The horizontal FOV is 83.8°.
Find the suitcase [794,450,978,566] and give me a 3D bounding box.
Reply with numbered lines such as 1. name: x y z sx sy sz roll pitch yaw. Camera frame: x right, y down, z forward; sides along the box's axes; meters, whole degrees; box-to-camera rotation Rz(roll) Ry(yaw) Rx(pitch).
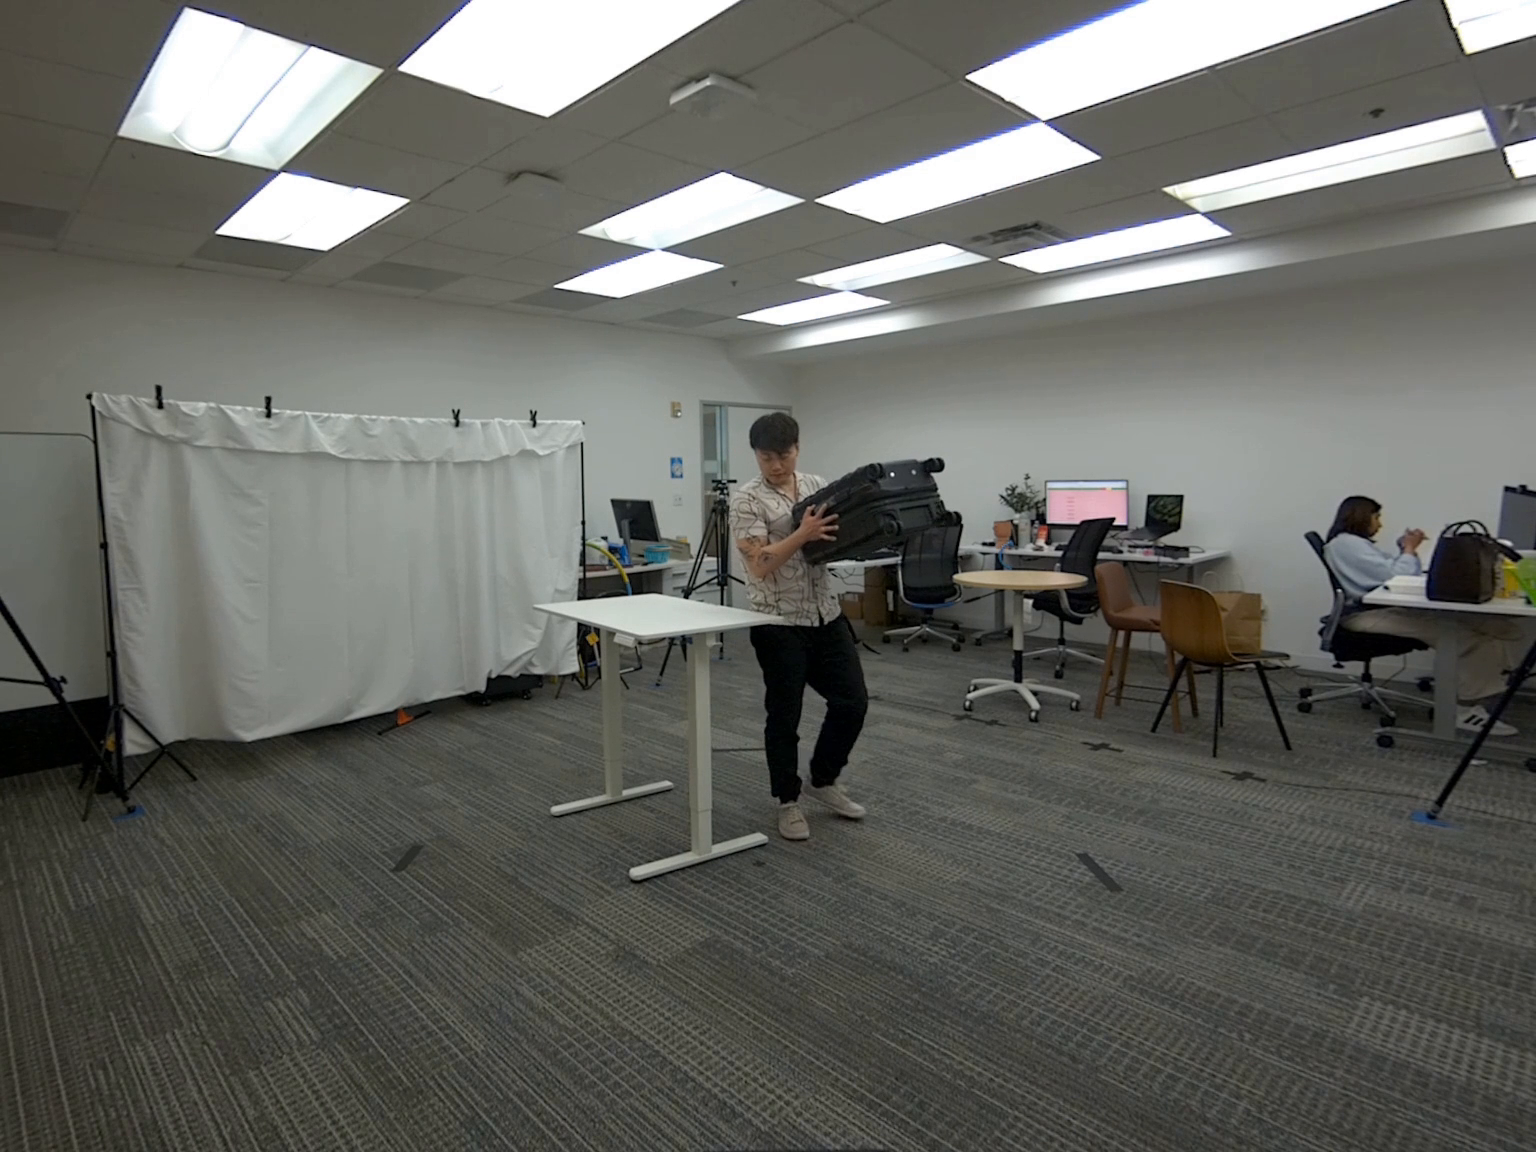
1. suitcase: 0.400 -0.236 3.135 0.367 0.250 0.557 -11 -6 -33
